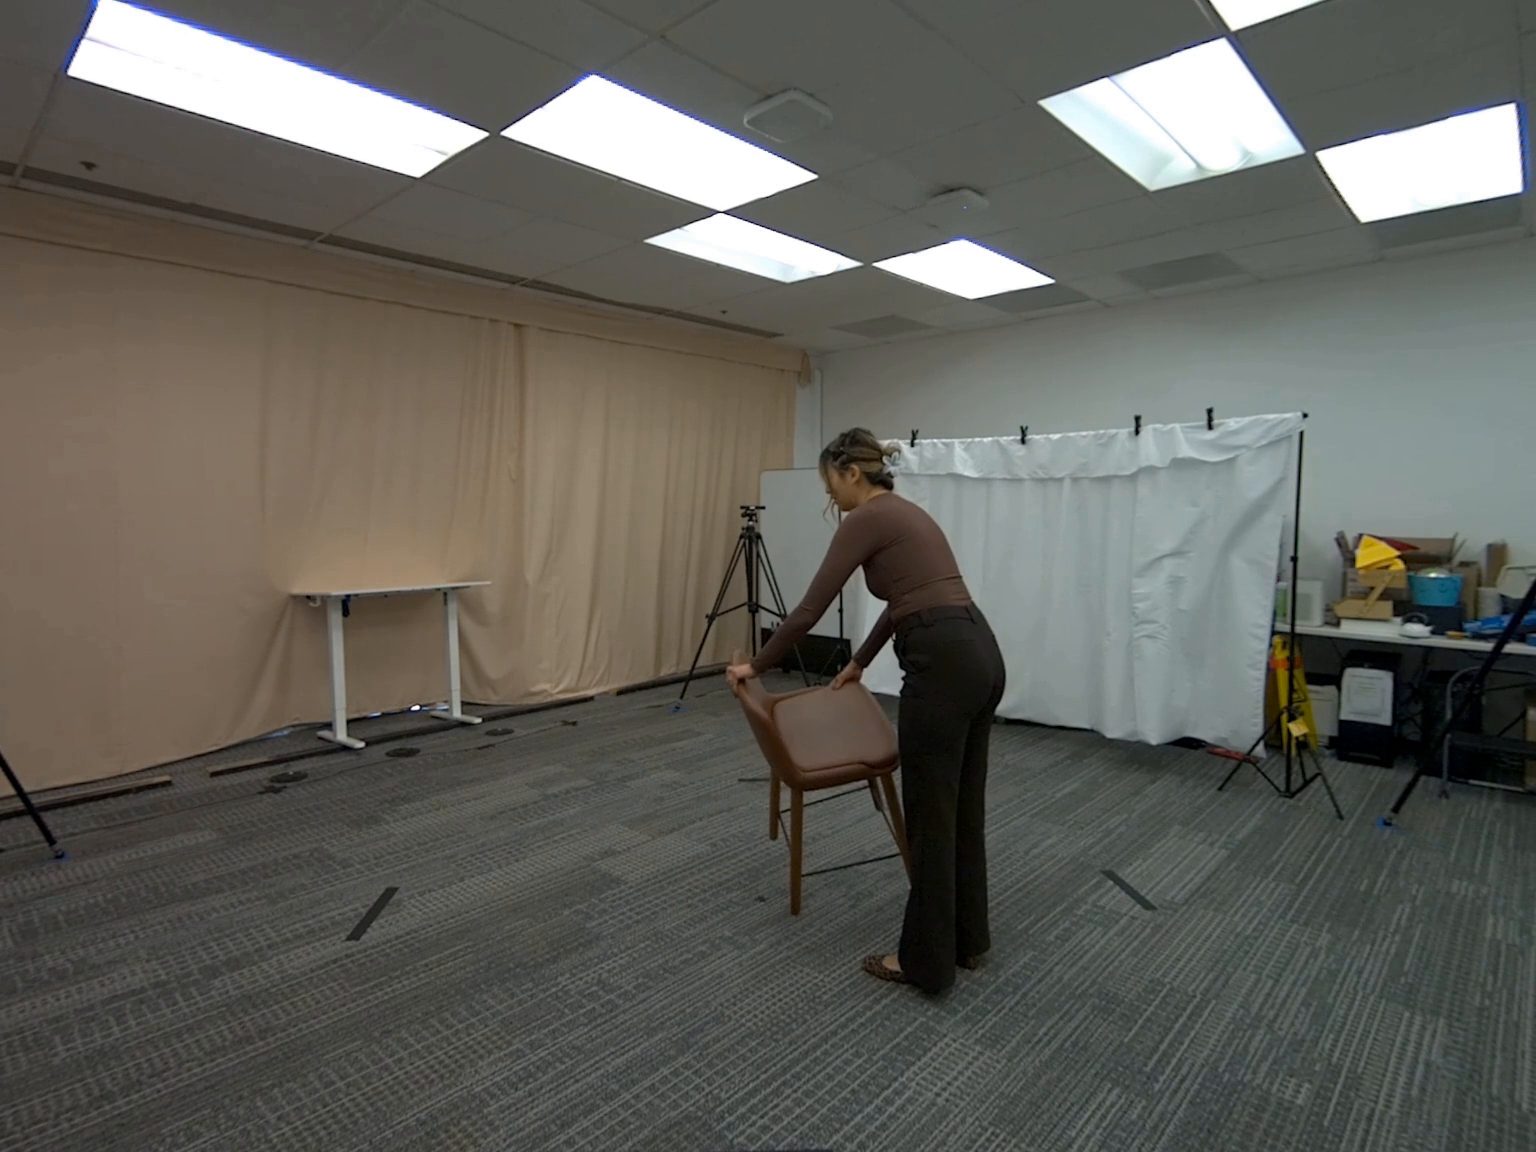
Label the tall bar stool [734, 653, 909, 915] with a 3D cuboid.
[{"bbox_3d":[0.201,0.649,2.861,0.466,0.872,0.467,-14,26,-5],"label":"tall bar stool"}]
